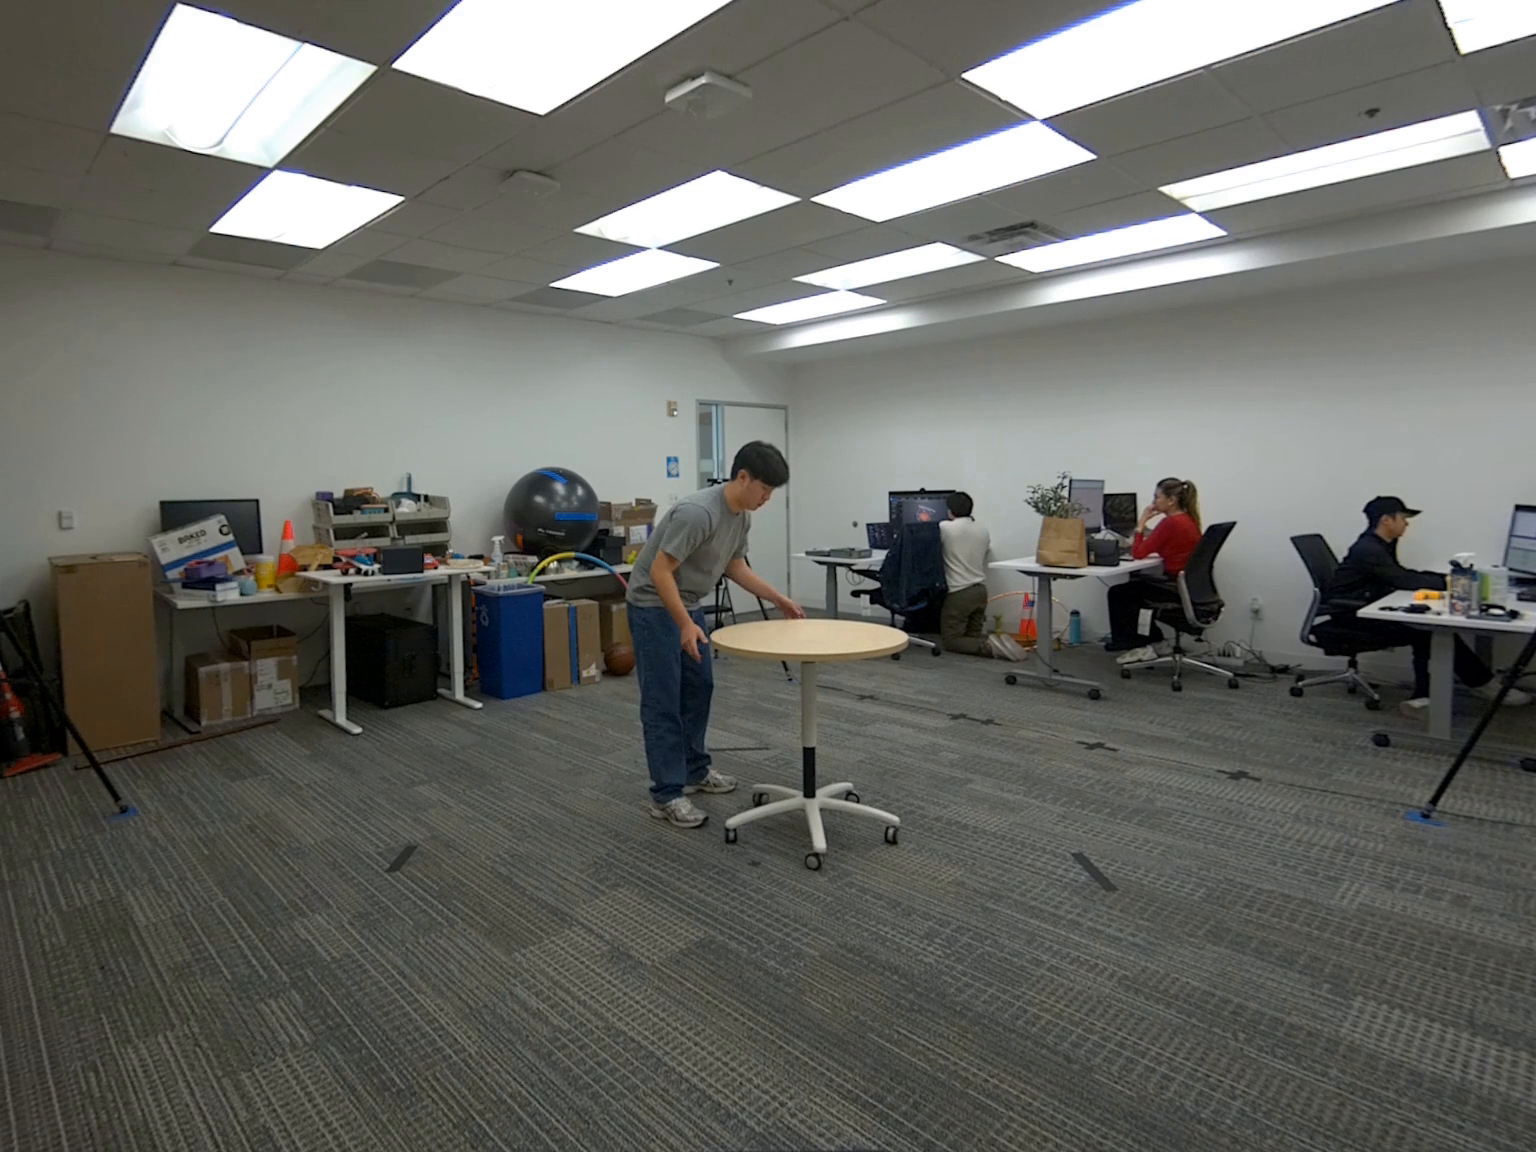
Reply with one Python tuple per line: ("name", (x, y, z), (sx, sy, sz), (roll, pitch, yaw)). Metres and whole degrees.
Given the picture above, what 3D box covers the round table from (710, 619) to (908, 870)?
("round table", (0.169, 0.622, 3.358), (0.763, 0.791, 0.768), (-1, 5, -2))
